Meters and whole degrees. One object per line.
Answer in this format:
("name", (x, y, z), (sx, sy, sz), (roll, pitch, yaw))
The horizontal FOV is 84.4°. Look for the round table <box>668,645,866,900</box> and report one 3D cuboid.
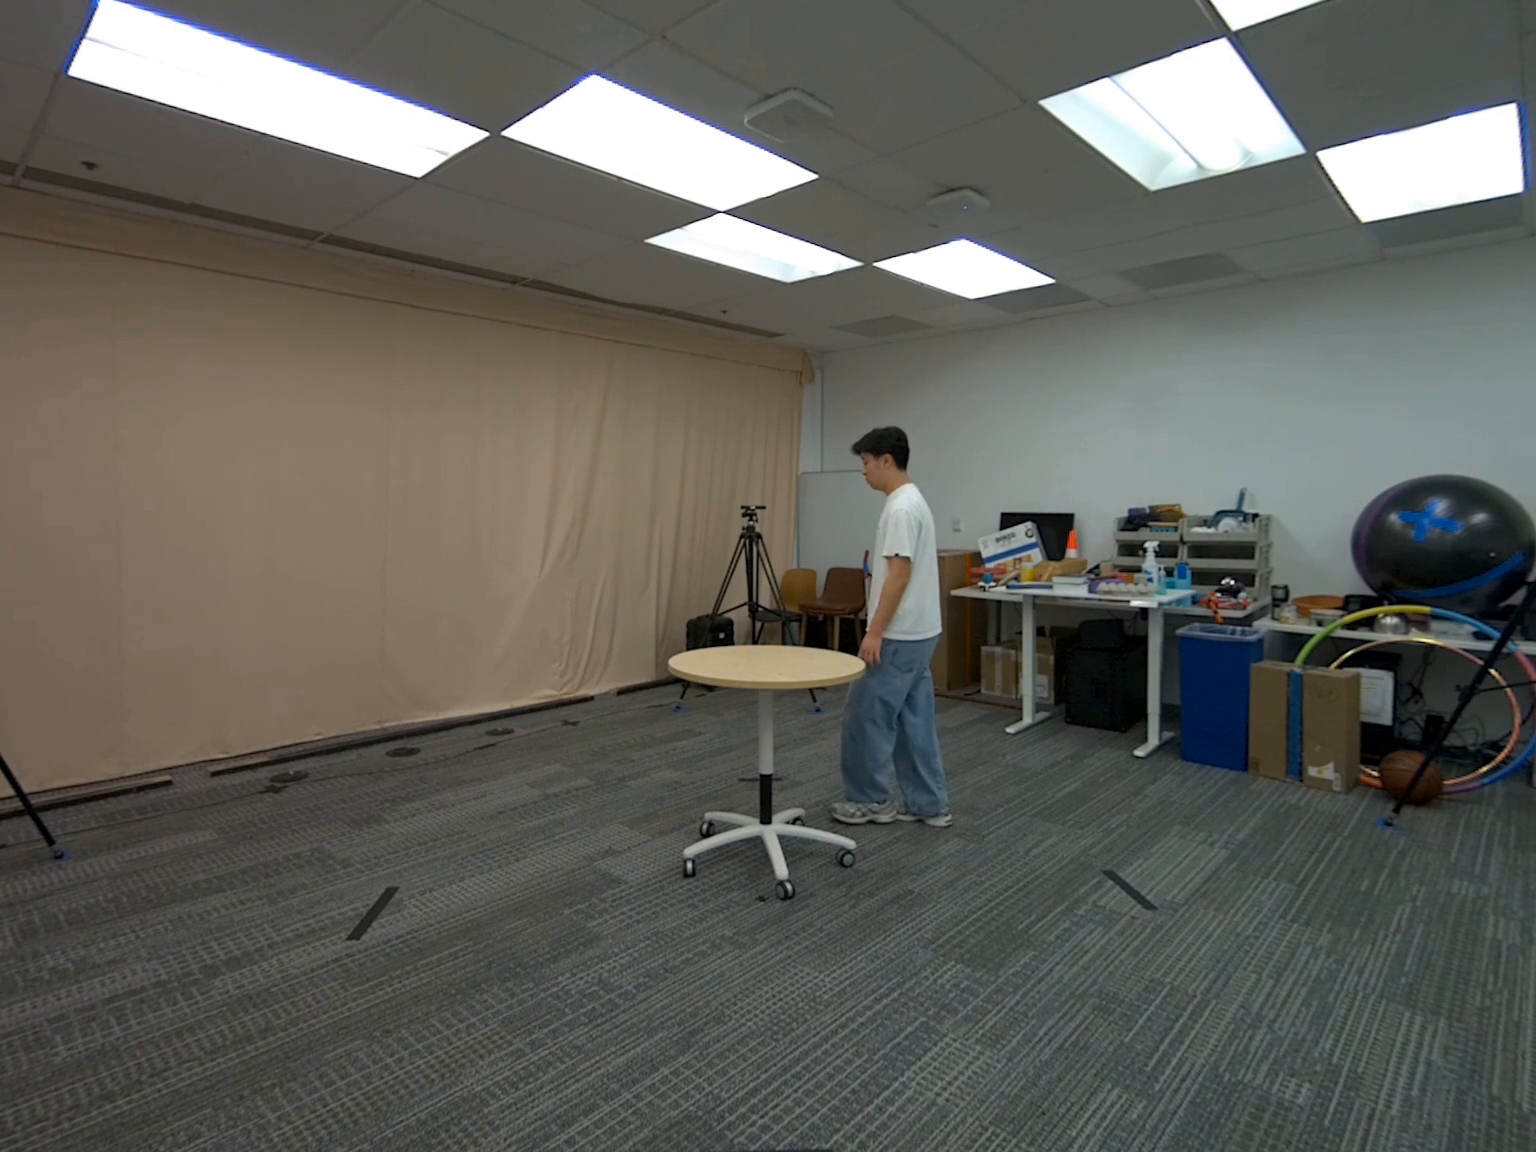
("round table", (-0.003, 0.729, 3.305), (0.763, 0.792, 0.766), (0, 4, -2))
